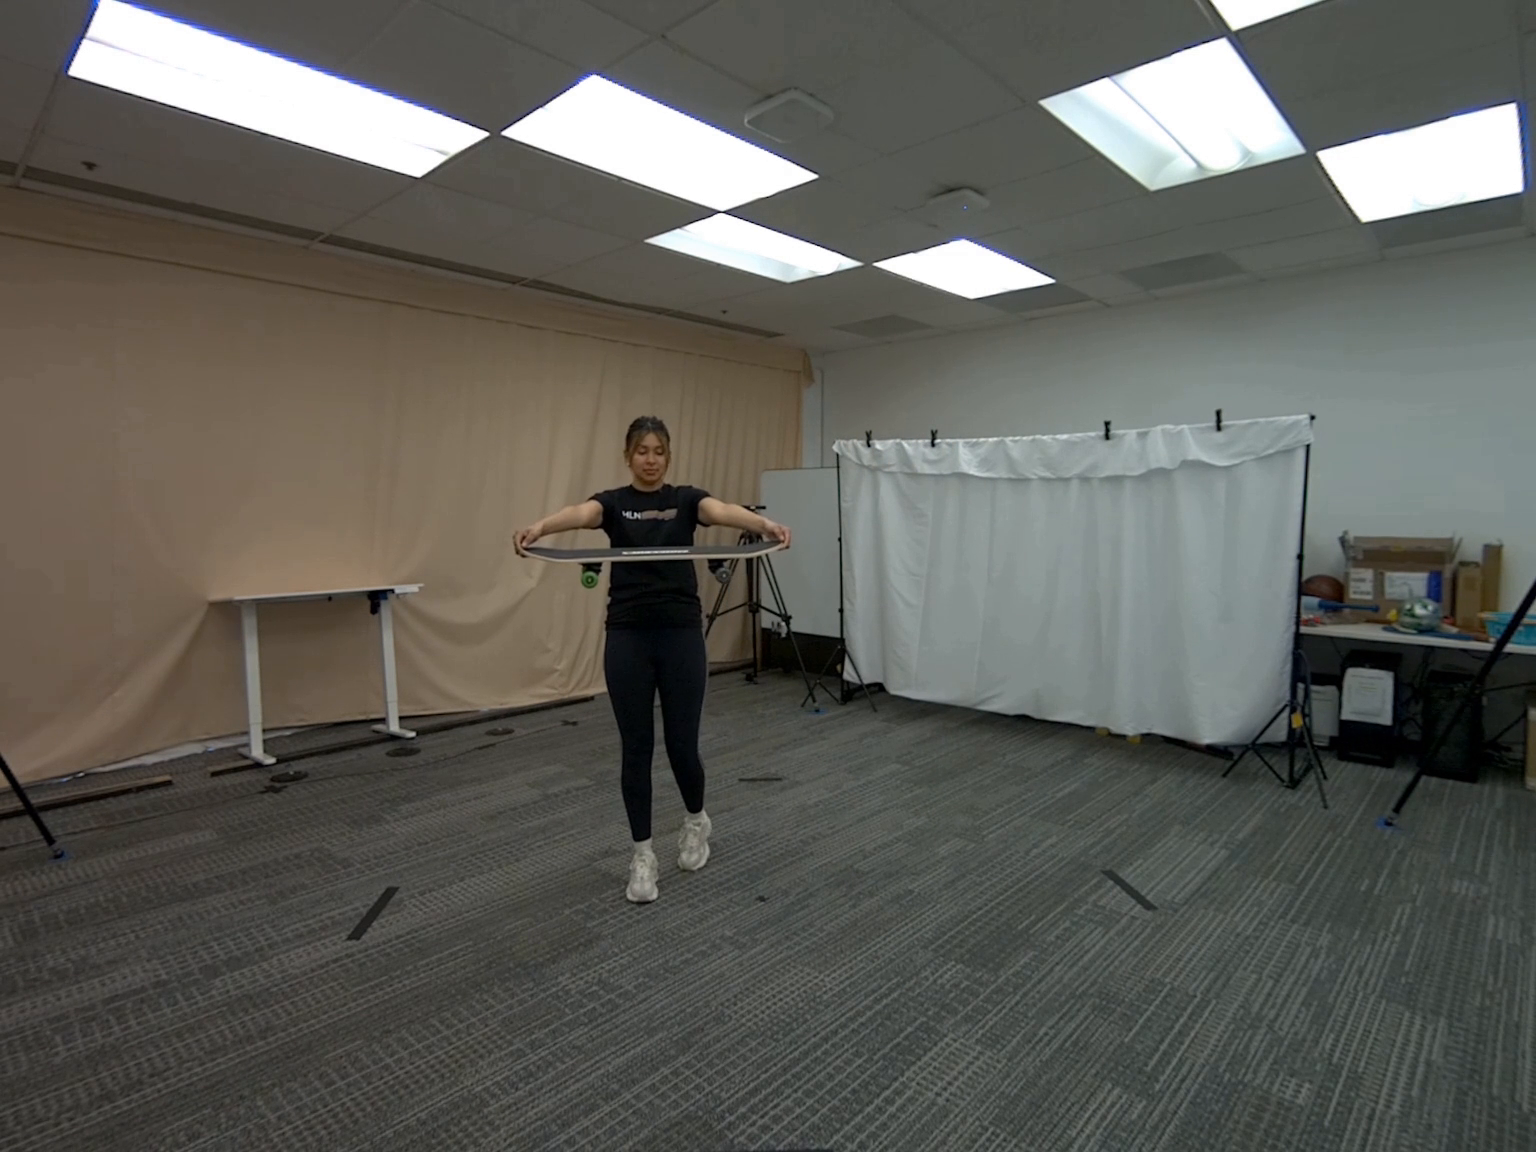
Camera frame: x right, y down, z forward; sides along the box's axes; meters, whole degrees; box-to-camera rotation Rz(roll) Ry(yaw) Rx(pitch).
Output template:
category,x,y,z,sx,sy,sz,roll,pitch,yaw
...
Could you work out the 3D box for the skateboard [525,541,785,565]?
category,x,y,z,sx,sy,sz,roll,pitch,yaw
skateboard,-0.340,-0.034,2.558,0.780,0.110,0.196,-2,10,-7
